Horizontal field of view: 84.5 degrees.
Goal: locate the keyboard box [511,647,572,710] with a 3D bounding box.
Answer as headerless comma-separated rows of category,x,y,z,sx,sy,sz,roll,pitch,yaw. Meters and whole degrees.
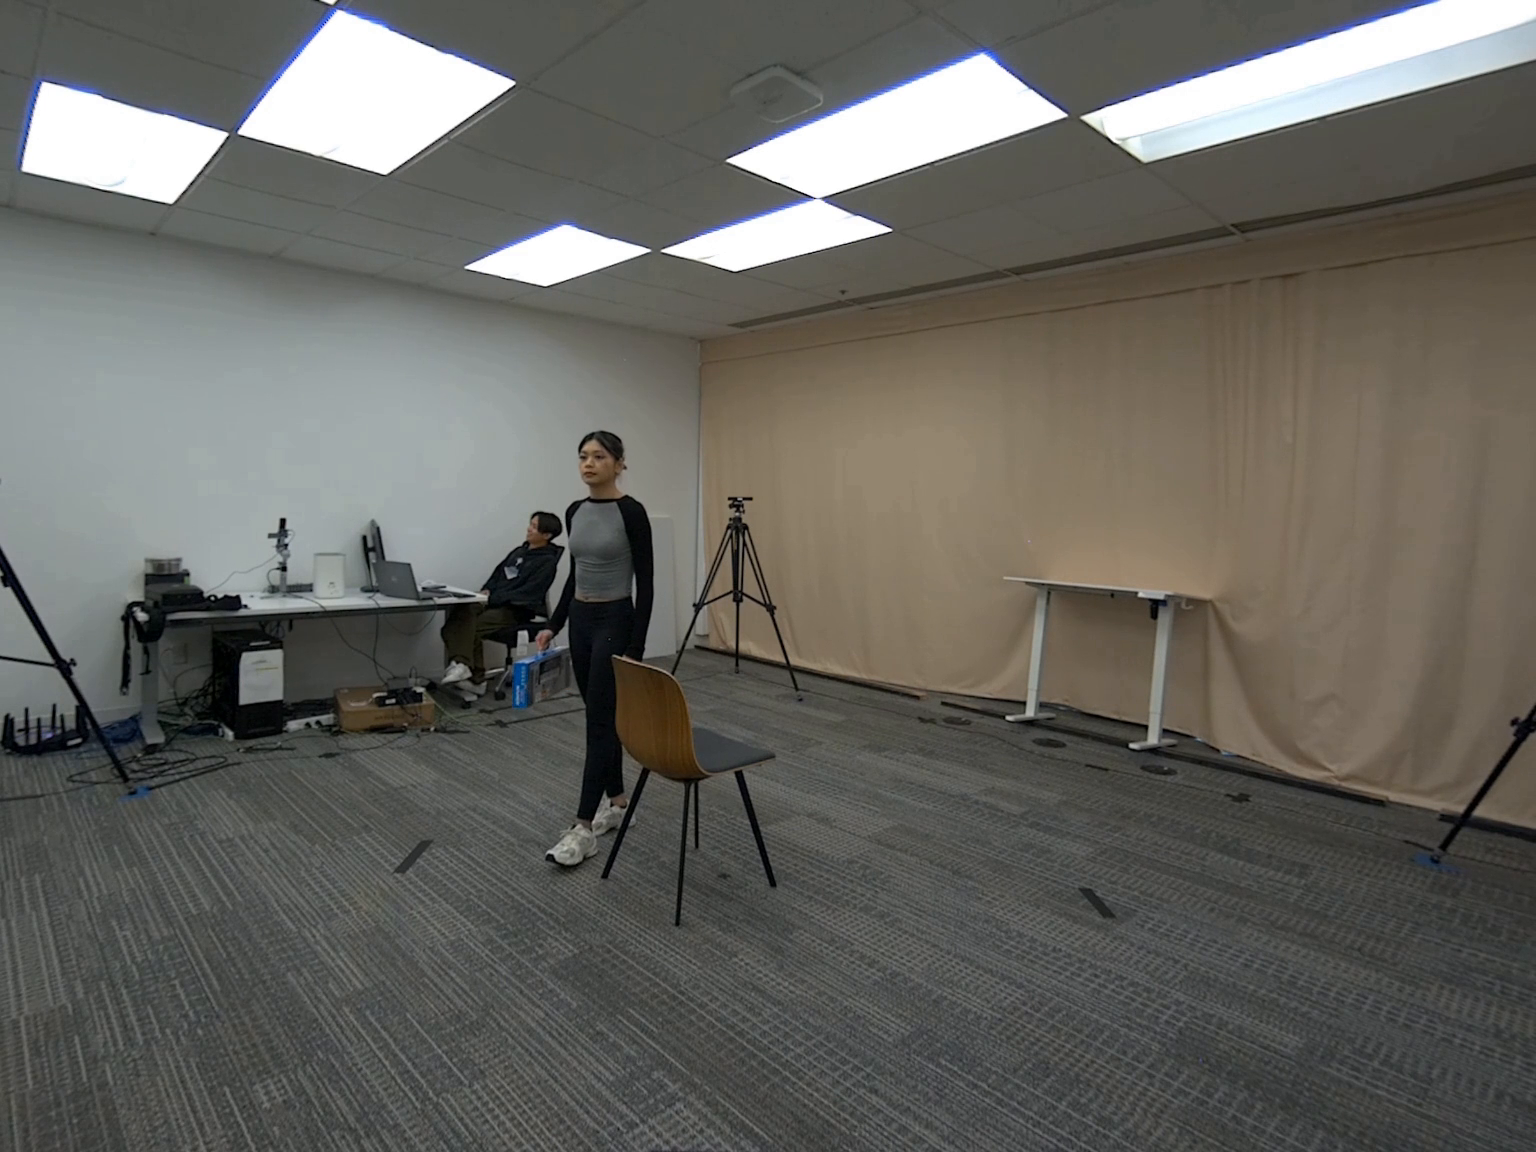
keyboard box,-0.900,0.396,3.388,0.059,0.176,0.434,2,3,7
